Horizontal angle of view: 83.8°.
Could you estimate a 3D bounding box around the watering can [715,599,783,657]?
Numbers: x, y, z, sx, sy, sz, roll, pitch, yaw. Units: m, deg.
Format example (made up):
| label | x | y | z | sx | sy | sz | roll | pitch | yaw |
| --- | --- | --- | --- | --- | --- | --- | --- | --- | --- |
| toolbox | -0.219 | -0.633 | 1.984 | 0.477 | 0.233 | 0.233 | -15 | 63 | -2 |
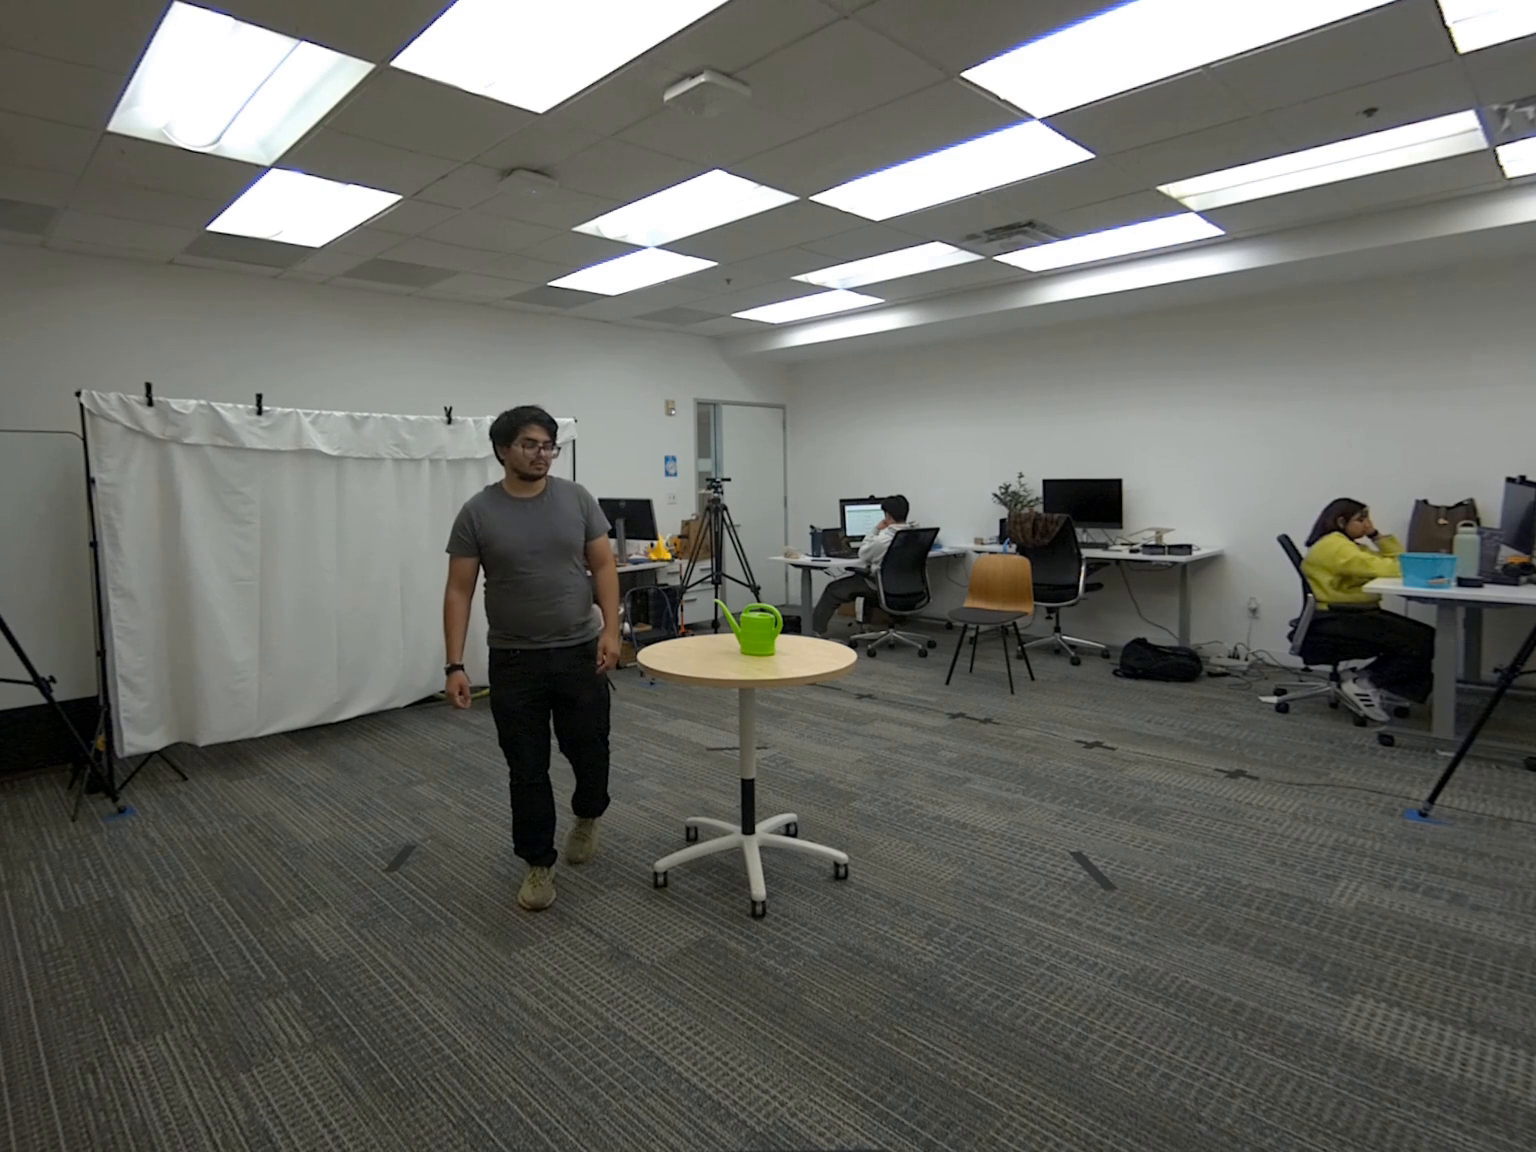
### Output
| label | x | y | z | sx | sy | sz | roll | pitch | yaw |
| --- | --- | --- | --- | --- | --- | --- | --- | --- | --- |
| watering can | -0.067 | 0.179 | 3.025 | 0.287 | 0.176 | 0.095 | 5 | 5 | 43 |
